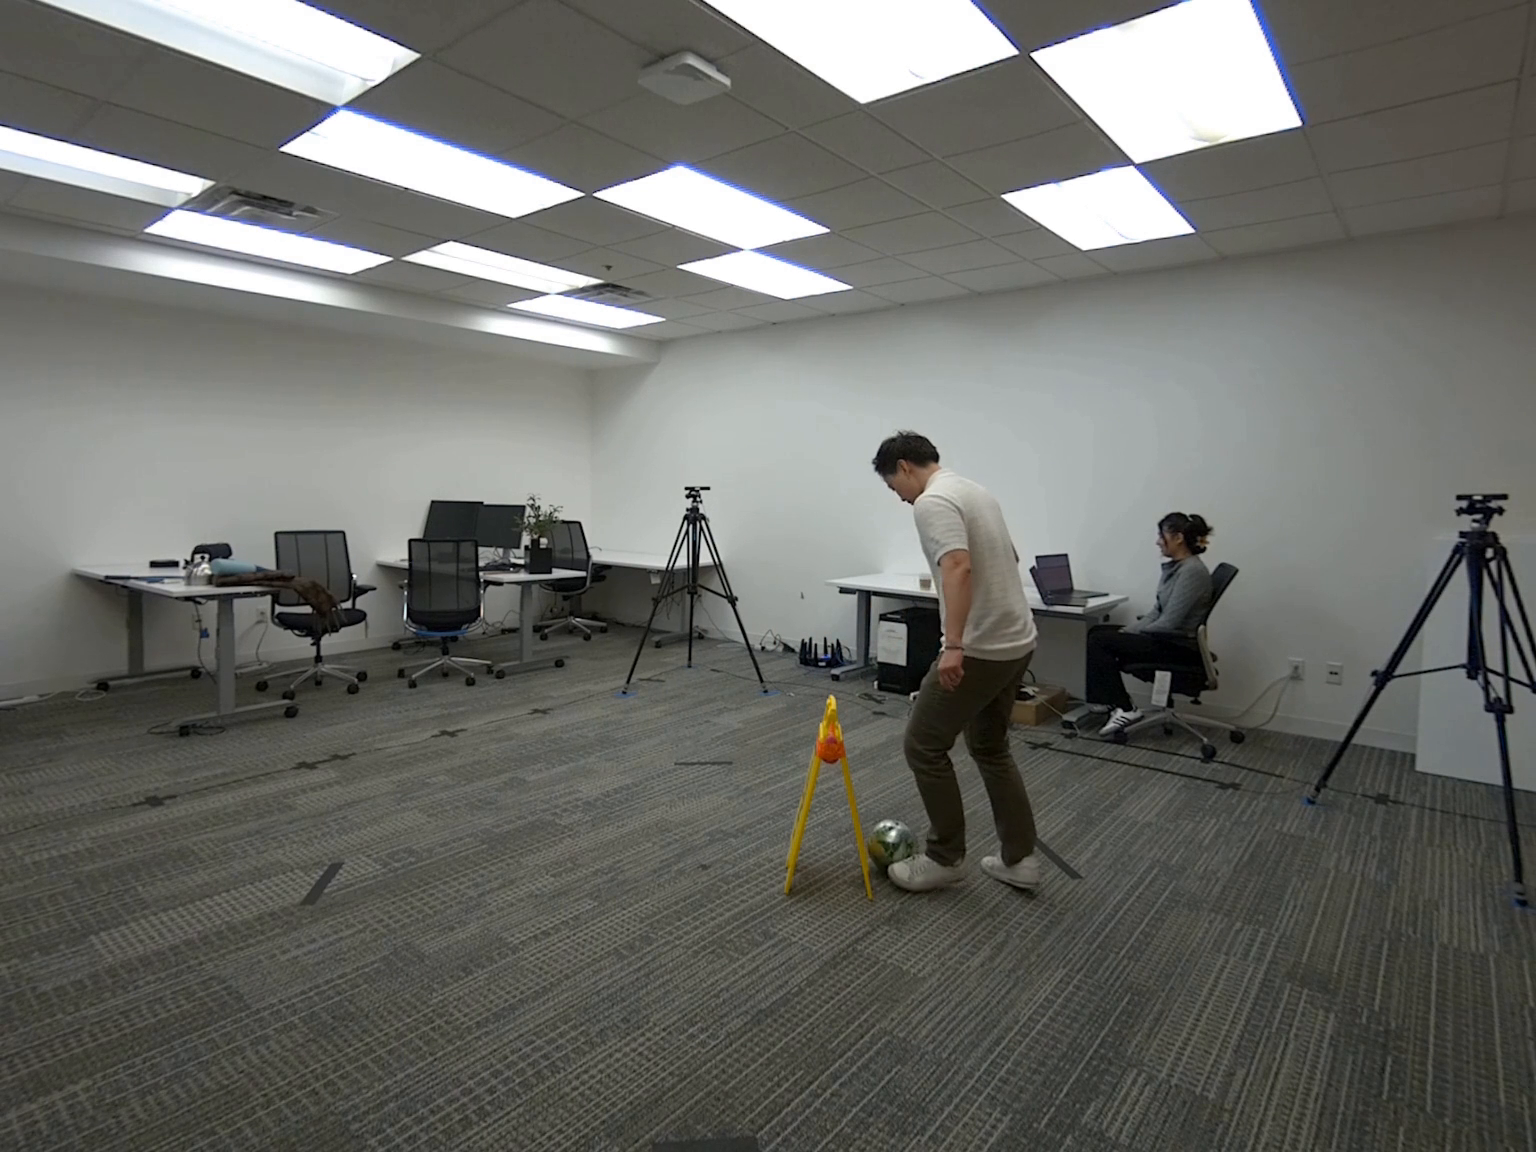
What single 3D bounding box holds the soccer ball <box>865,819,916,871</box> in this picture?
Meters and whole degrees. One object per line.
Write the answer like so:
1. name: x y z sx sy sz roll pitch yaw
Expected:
1. soccer ball: 0.446 0.988 3.121 0.187 0.187 0.188 0 4 -2
